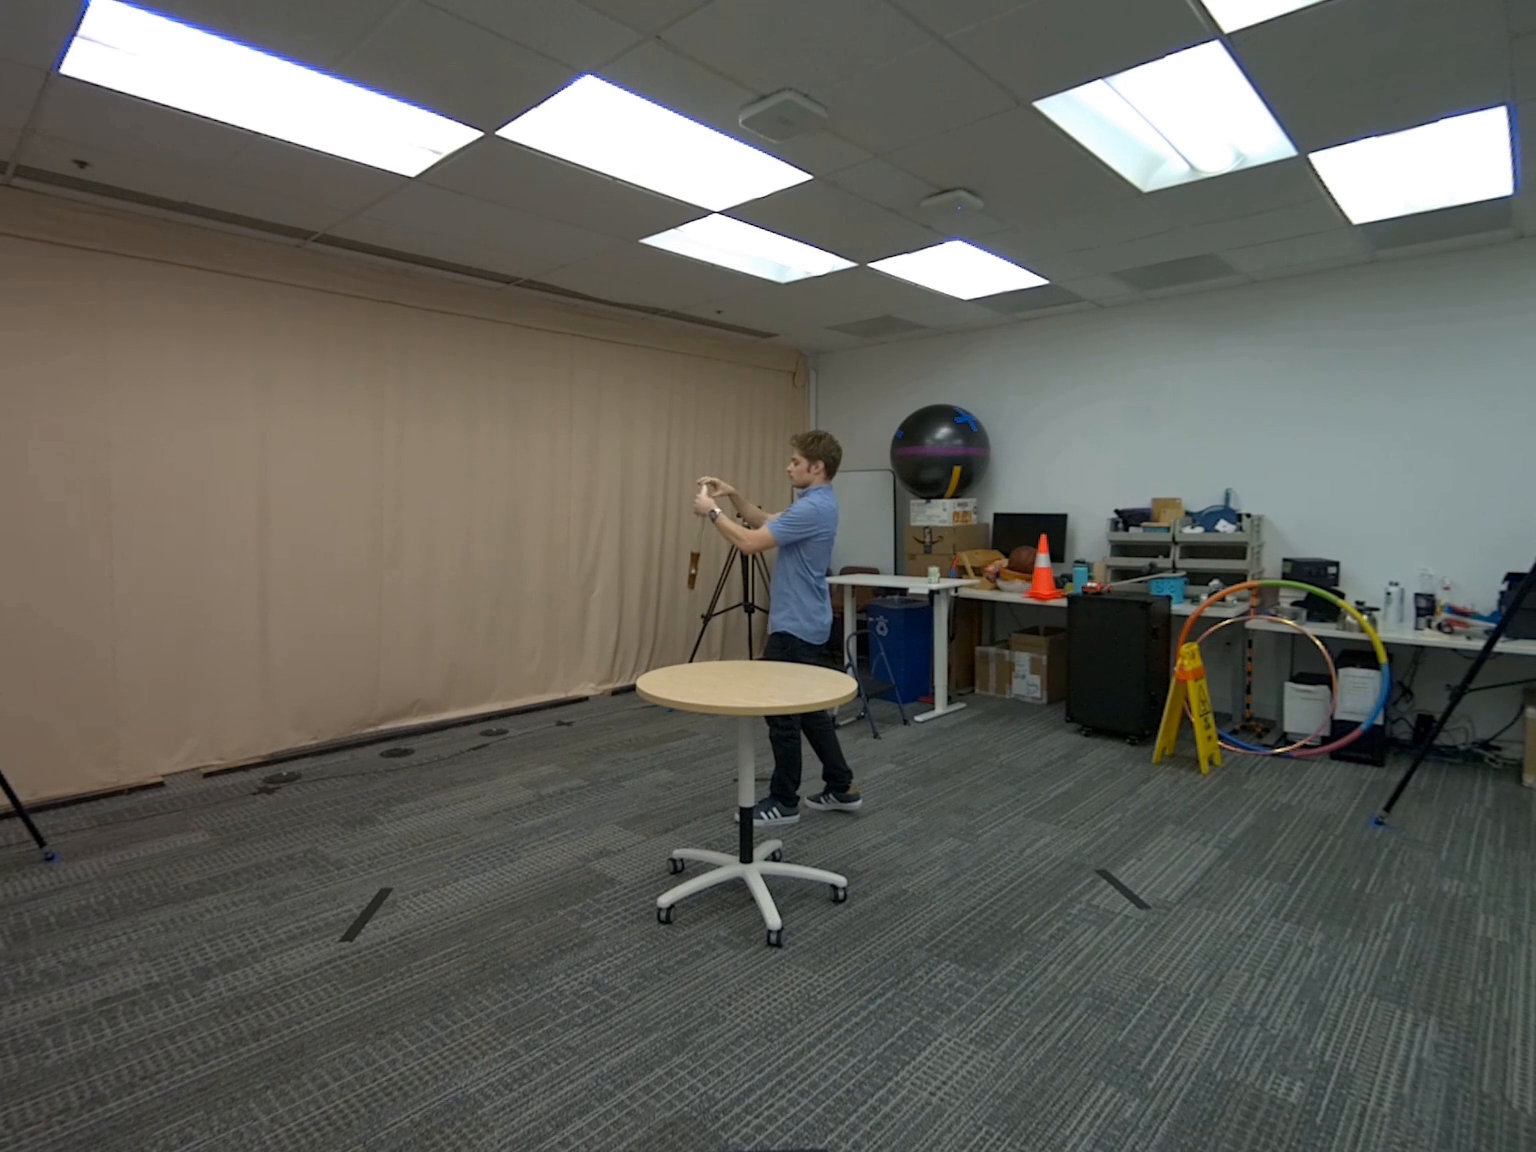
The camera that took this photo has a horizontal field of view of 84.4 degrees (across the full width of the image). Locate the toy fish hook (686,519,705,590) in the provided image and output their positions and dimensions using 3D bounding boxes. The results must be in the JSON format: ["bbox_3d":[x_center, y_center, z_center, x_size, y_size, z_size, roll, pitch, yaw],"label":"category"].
[{"bbox_3d":[-0.319,-0.181,3.874,0.048,0.503,0.226,11,19,-2],"label":"toy fish hook"}]
